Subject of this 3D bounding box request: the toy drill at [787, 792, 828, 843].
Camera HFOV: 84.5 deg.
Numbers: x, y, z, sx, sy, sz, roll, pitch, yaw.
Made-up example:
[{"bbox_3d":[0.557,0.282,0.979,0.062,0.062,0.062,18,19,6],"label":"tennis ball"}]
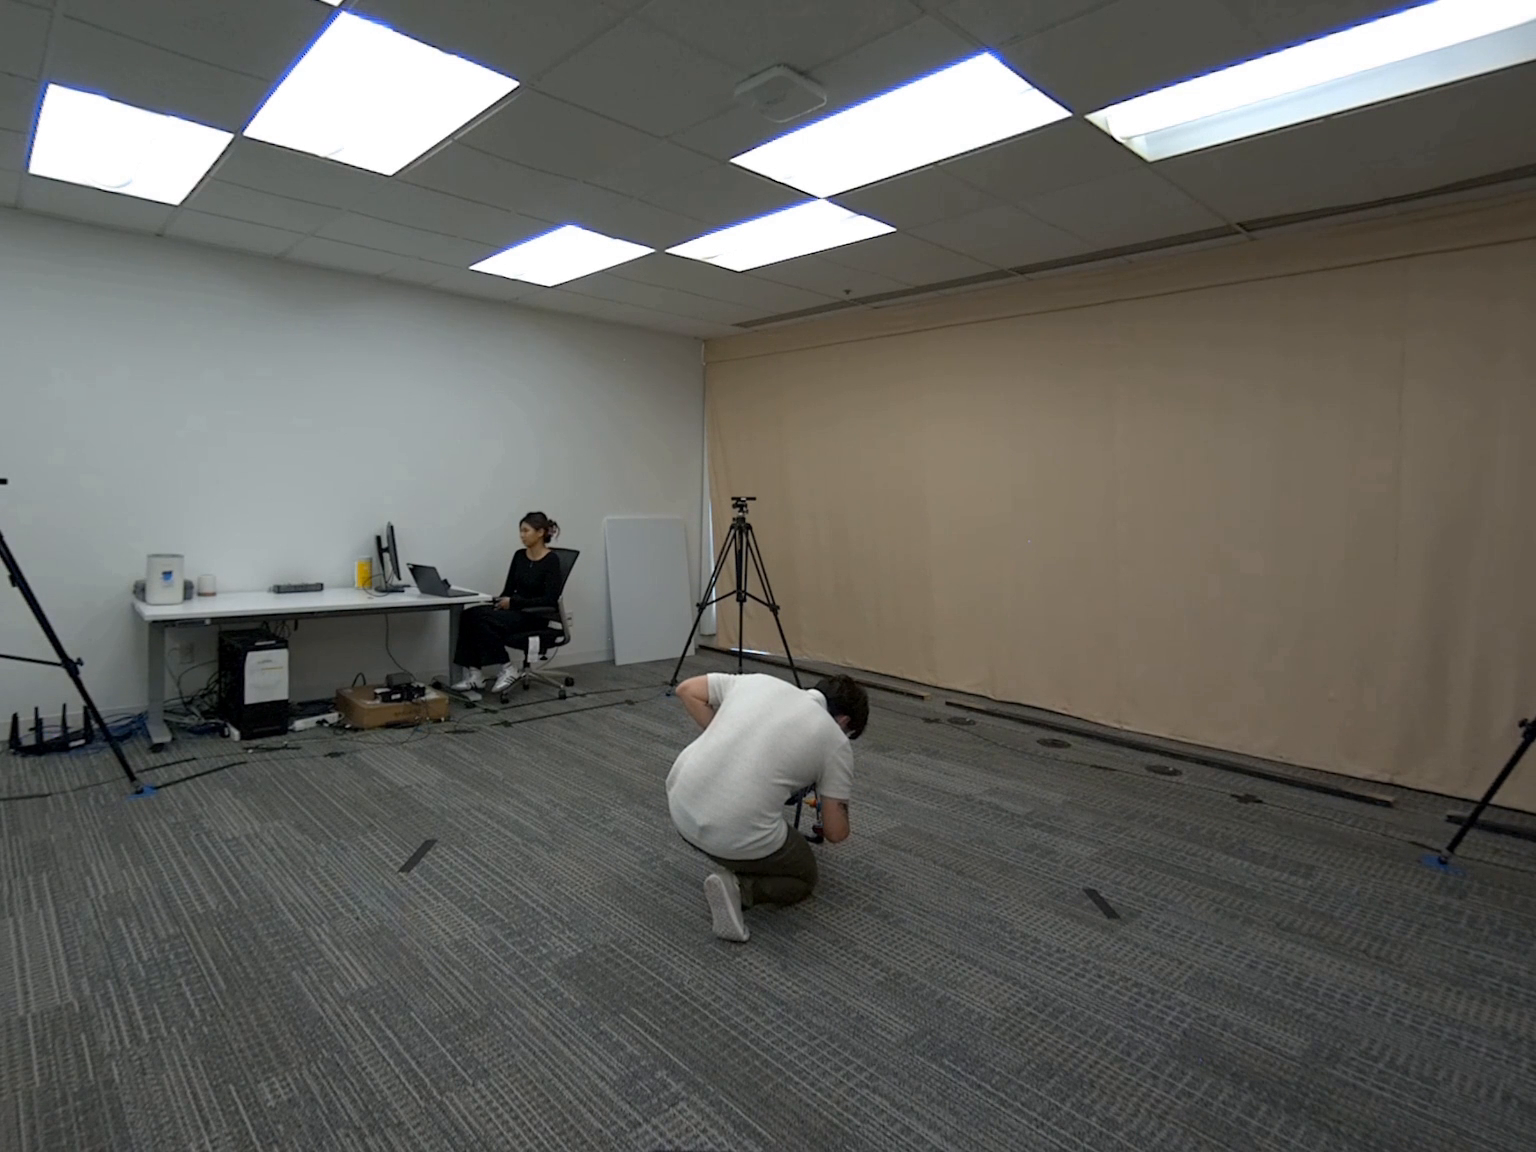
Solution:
[{"bbox_3d":[0.181,0.893,3.144,0.174,0.060,0.146,5,36,31],"label":"toy drill"}]
